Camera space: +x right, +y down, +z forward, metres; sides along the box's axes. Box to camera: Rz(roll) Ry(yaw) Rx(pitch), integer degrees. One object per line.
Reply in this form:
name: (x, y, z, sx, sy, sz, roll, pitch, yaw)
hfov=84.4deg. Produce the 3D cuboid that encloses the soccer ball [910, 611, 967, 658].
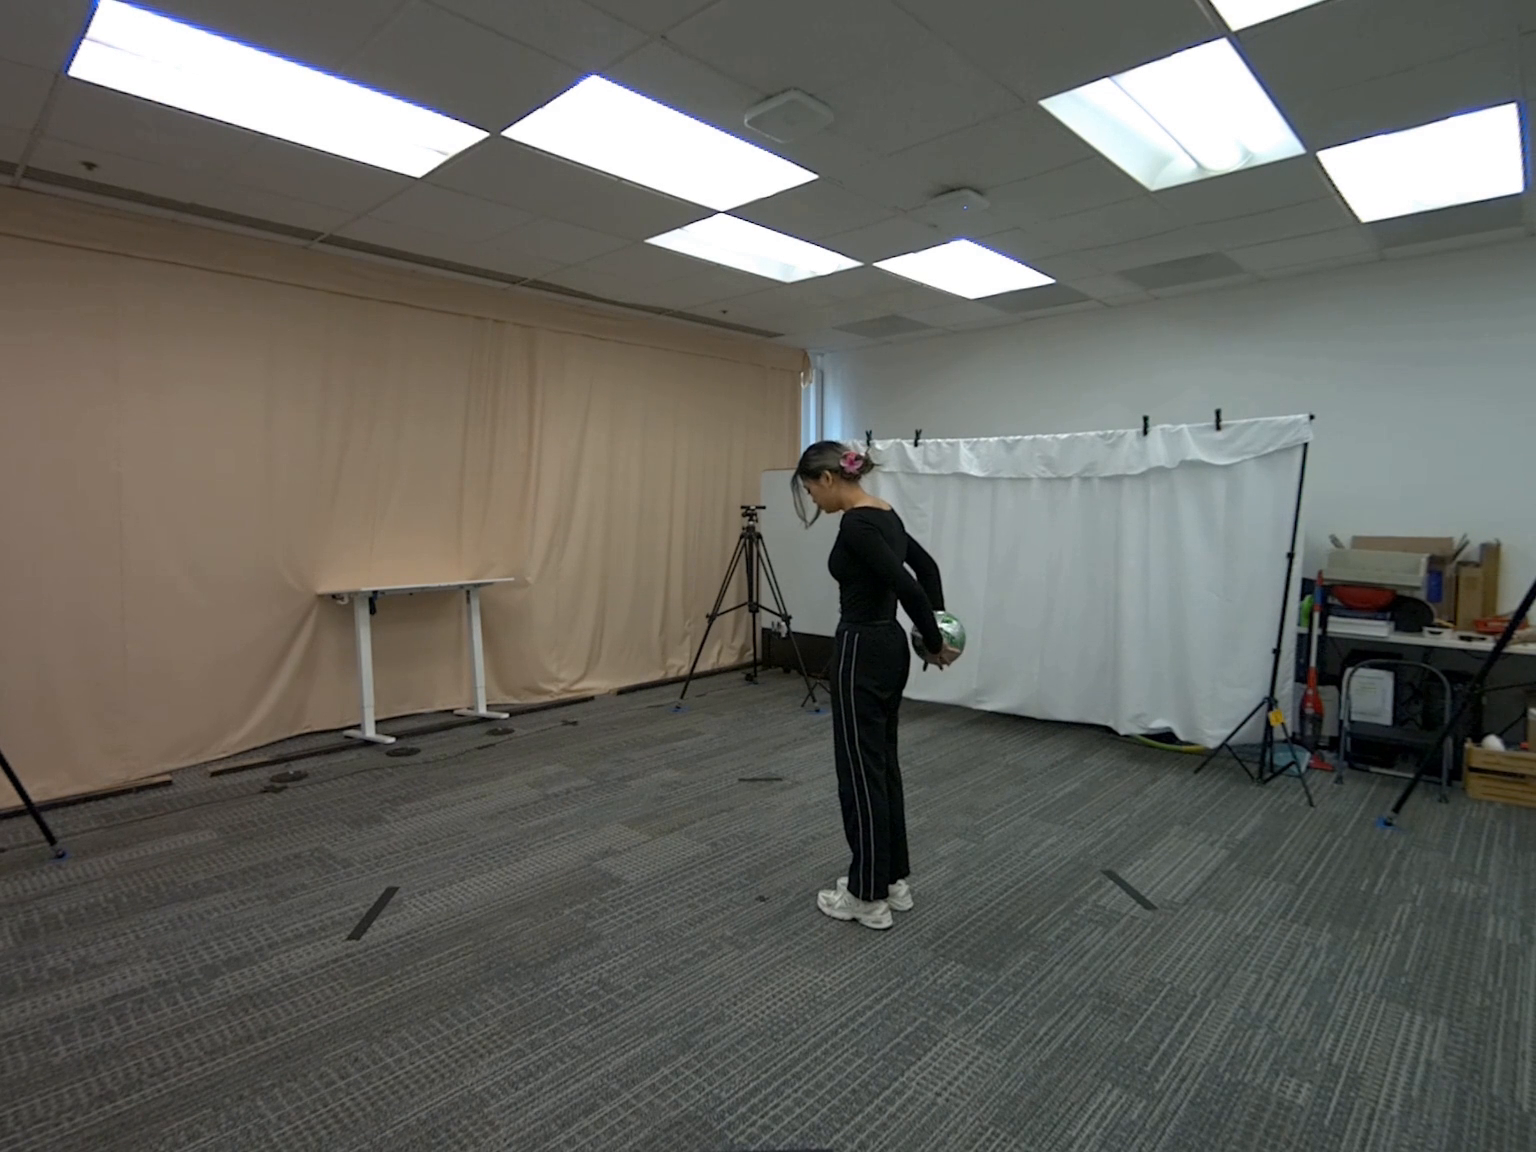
soccer ball: (0.591, 0.214, 2.912, 0.187, 0.187, 0.188, 0, 4, -2)
